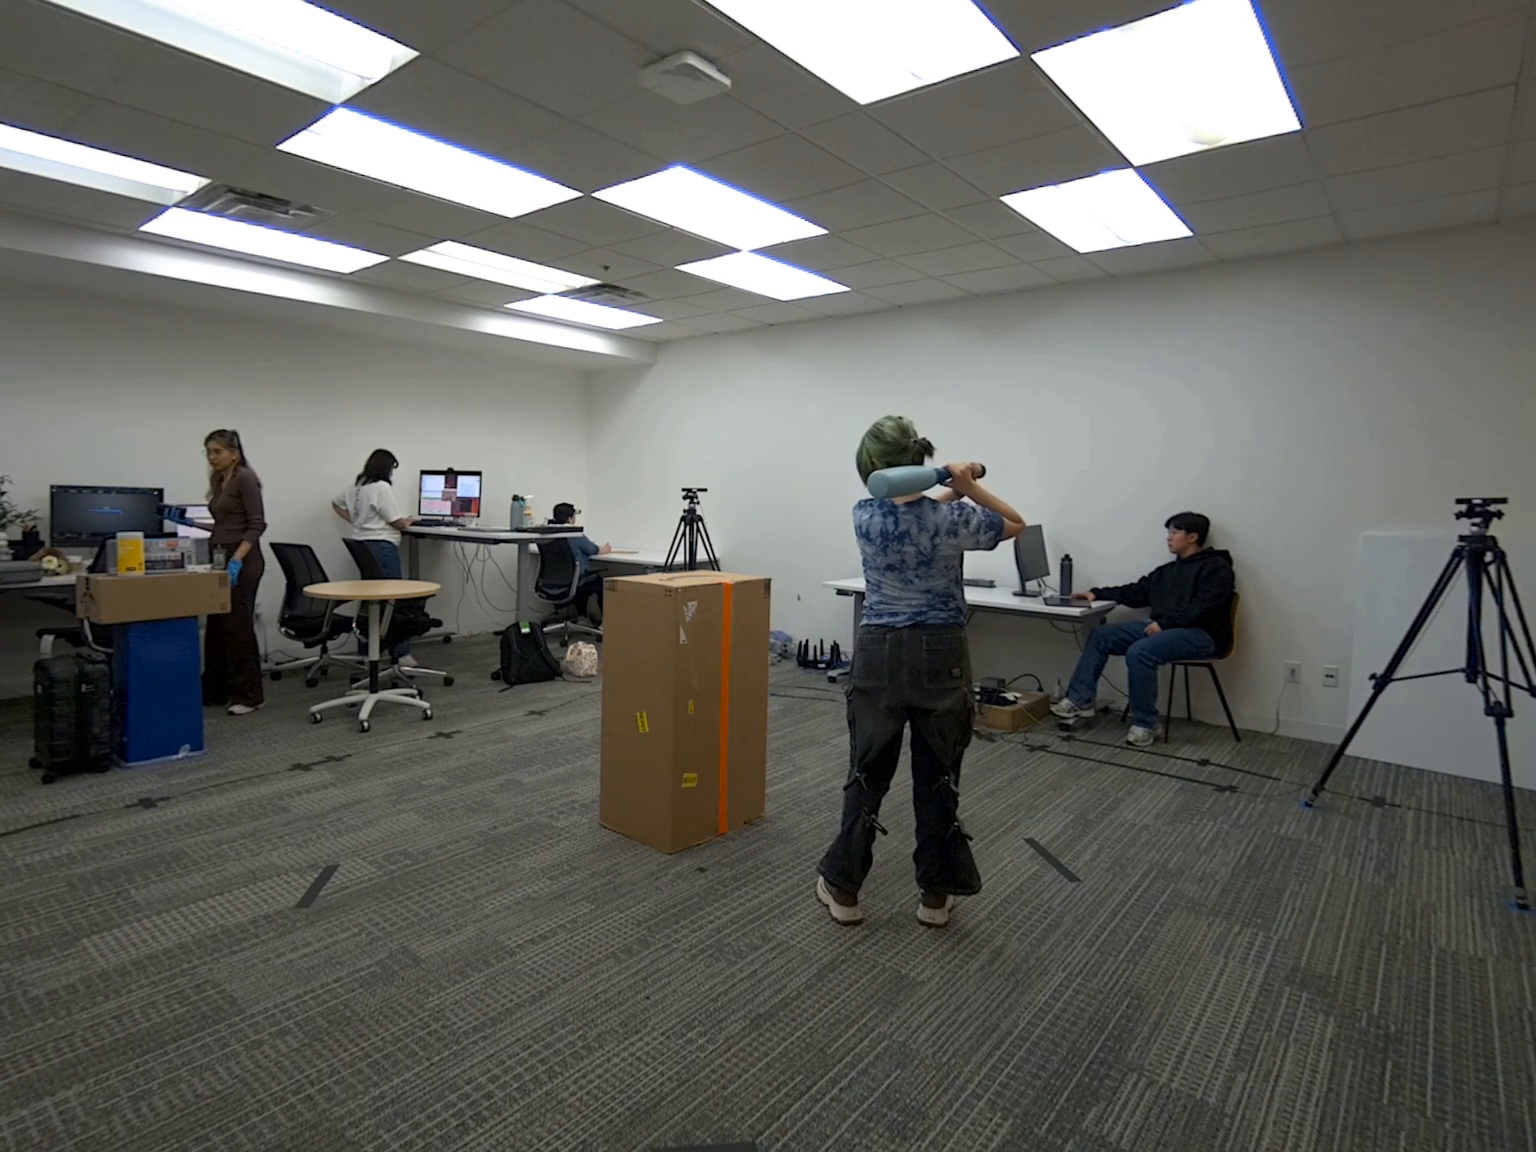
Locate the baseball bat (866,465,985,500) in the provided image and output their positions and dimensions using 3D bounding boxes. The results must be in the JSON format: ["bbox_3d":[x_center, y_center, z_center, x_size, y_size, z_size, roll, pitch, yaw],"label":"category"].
[{"bbox_3d":[0.502,-0.309,2.629,0.529,0.088,0.092,-12,11,-41],"label":"baseball bat"}]
